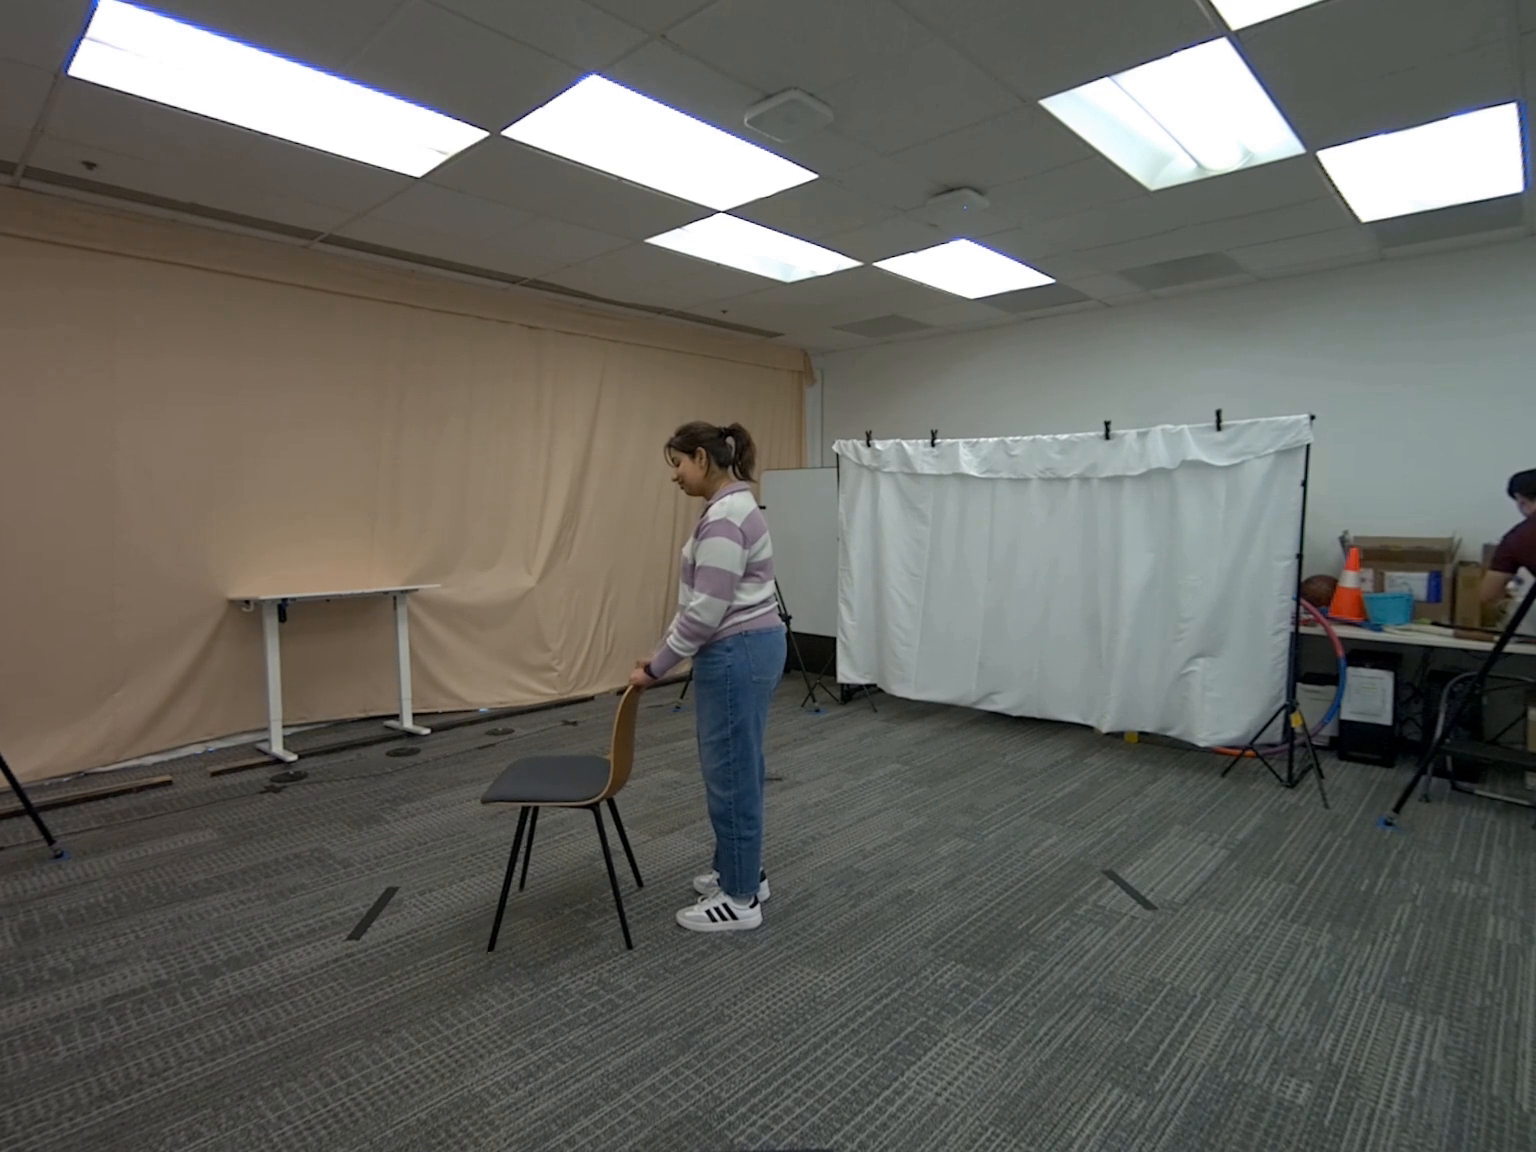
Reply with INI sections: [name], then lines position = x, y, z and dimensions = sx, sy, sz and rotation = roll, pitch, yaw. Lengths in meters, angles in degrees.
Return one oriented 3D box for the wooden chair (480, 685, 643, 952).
[wooden chair]
position = -0.681, 0.735, 2.836
dimensions = 0.522, 0.875, 0.480
rotation = 4, 3, -3
